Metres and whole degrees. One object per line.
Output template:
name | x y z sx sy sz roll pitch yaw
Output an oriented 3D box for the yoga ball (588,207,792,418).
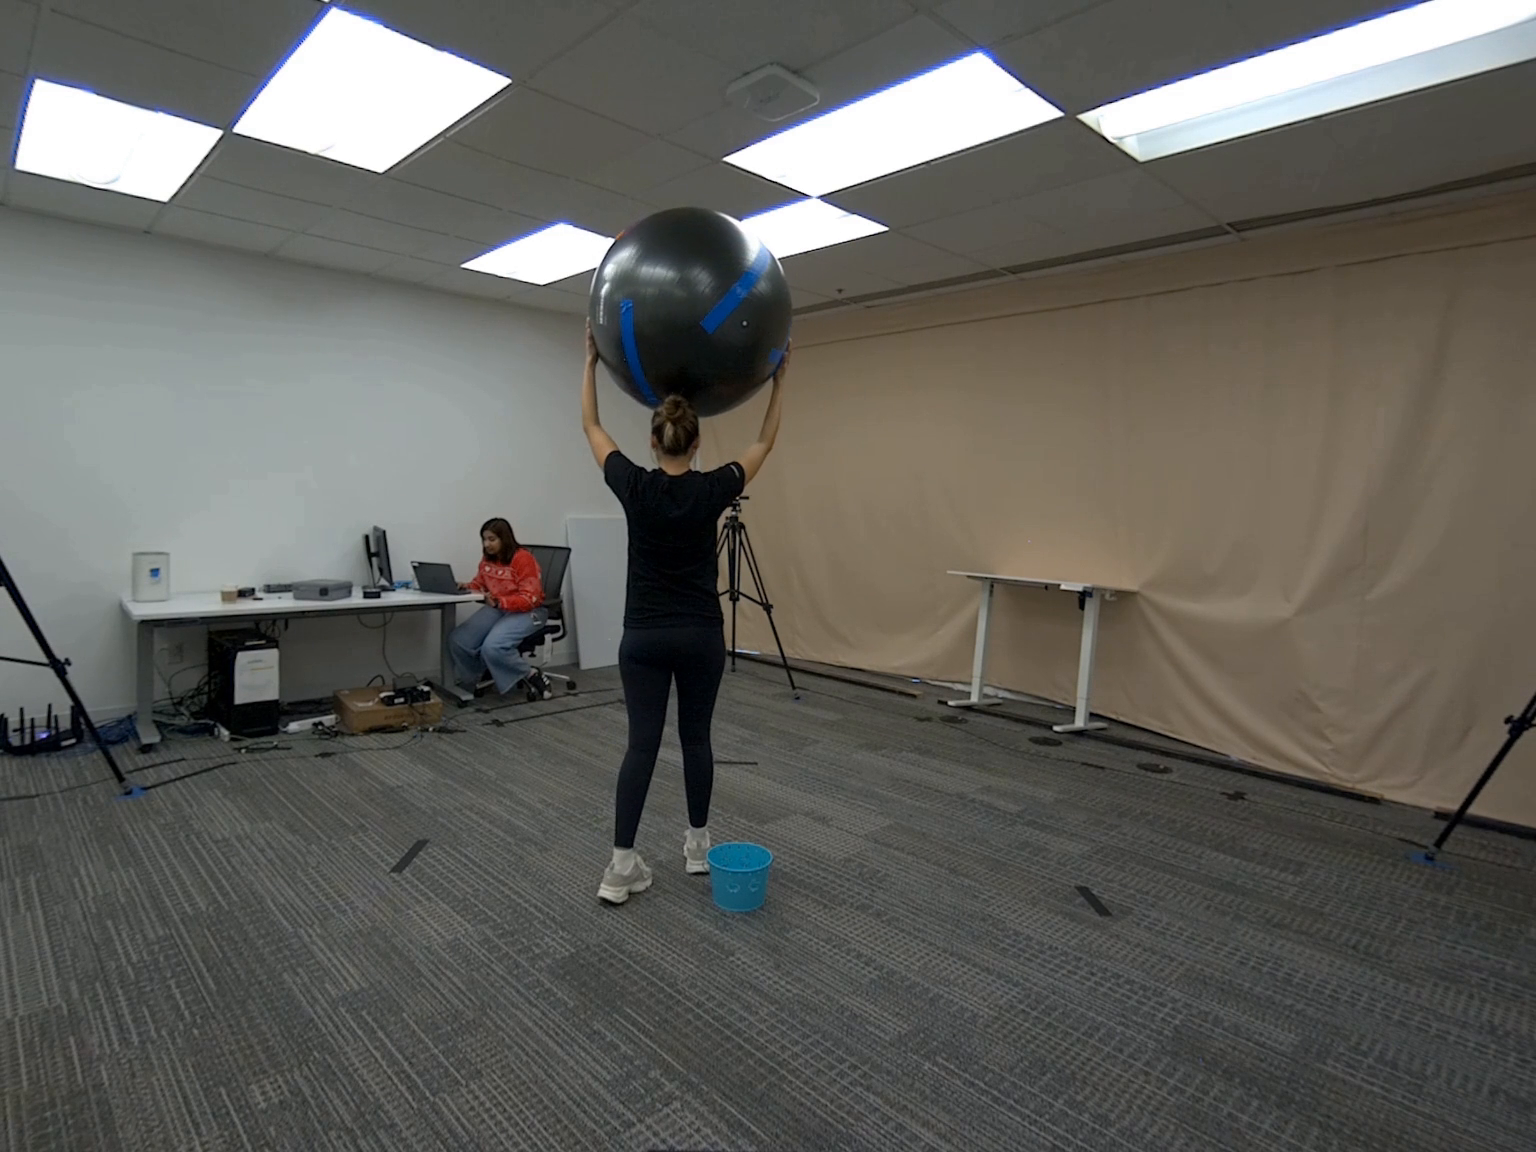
yoga ball | -0.294 -0.966 3.151 0.757 0.756 0.761 1 4 -1
